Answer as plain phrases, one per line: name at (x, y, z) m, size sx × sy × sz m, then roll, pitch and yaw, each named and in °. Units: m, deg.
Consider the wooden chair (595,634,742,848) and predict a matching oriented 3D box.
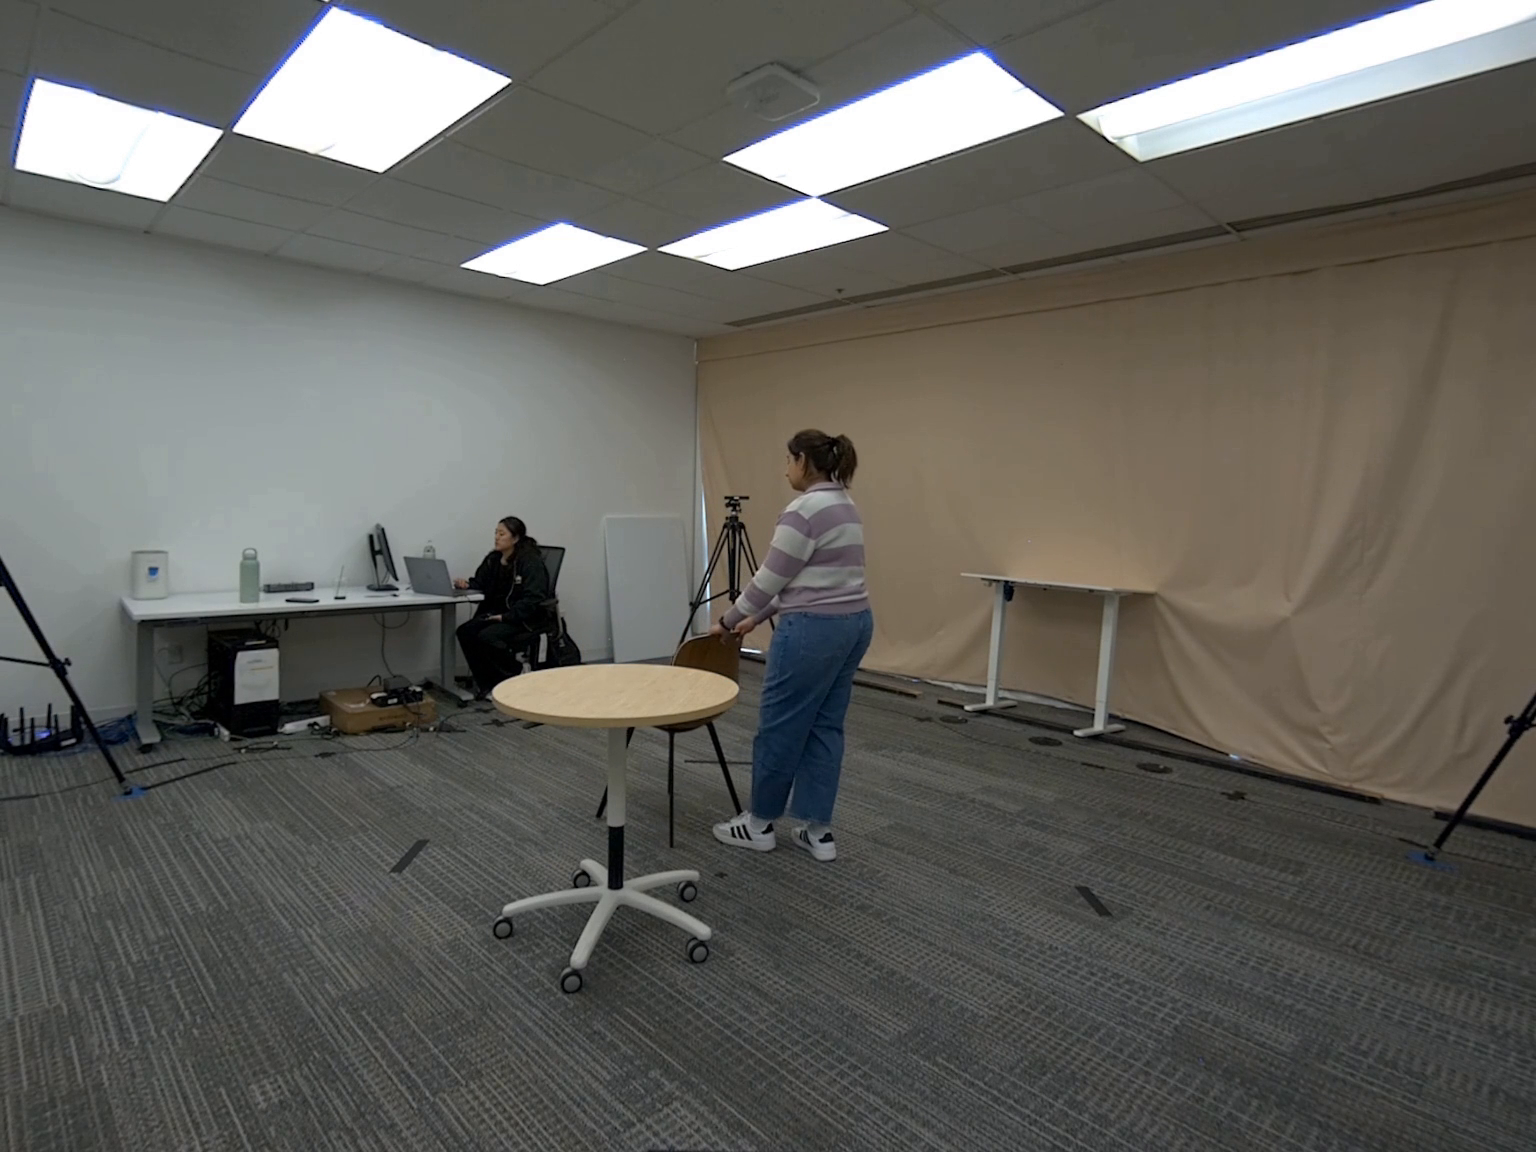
wooden chair at (-0.421, 0.620, 3.617) m, size 0.537 × 0.873 × 0.467 m, roll 11°, pitch 8°, yaw 38°
